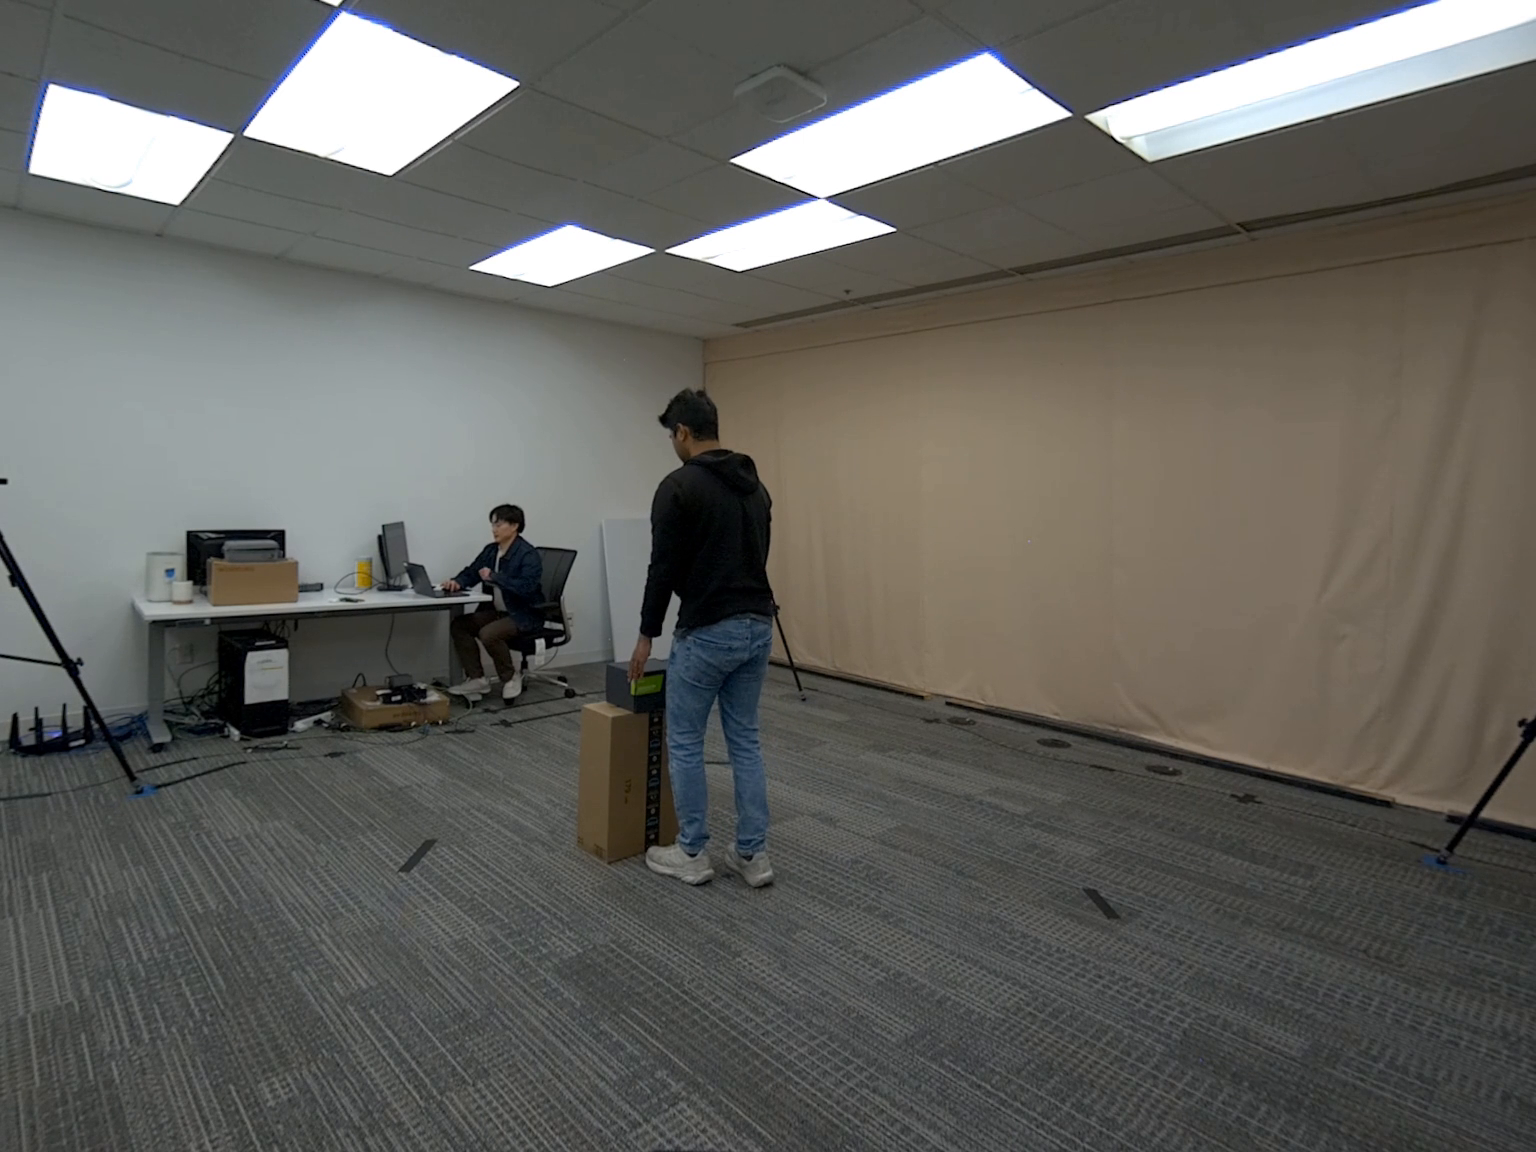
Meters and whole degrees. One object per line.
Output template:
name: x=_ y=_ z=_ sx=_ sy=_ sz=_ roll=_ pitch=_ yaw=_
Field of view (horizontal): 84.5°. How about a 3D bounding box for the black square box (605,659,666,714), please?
black square box: x=-0.501 y=0.431 z=3.357 sx=0.223 sy=0.155 sz=0.222 roll=-2 pitch=6 yaw=-41
